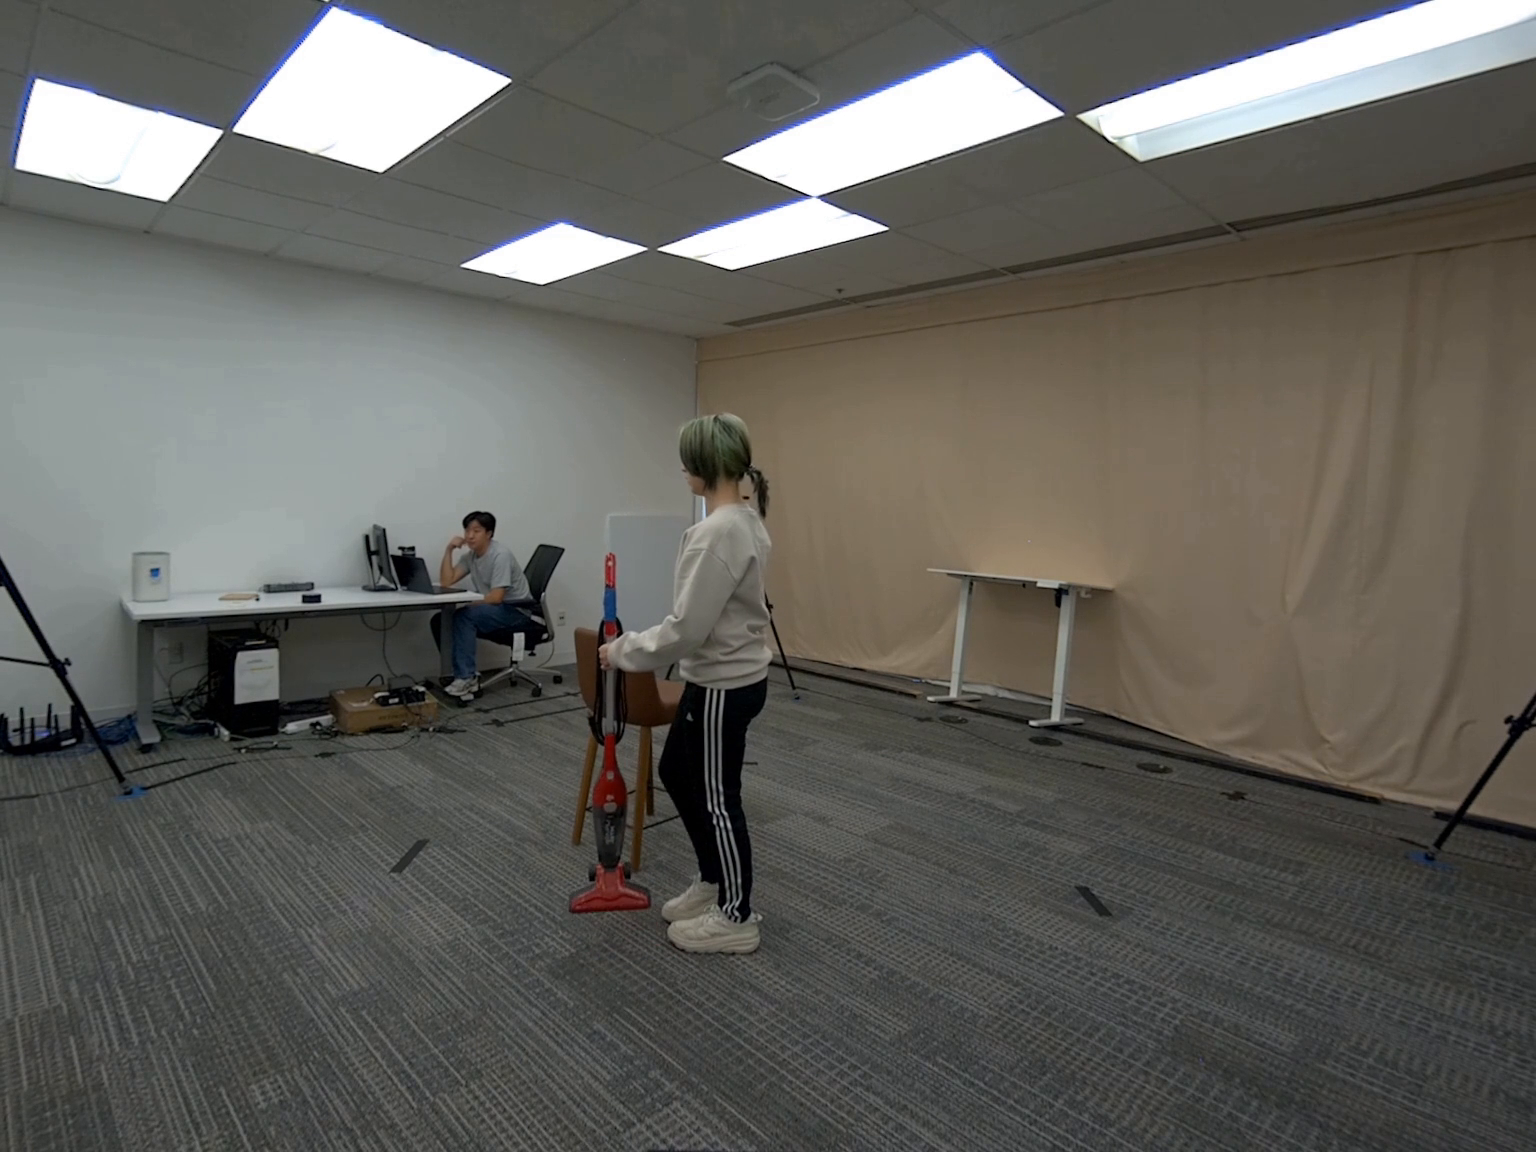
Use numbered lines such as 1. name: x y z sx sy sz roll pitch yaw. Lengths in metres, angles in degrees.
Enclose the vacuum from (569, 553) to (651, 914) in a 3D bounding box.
1. vacuum: -0.493 0.469 2.600 0.249 1.046 0.146 0 4 -15
